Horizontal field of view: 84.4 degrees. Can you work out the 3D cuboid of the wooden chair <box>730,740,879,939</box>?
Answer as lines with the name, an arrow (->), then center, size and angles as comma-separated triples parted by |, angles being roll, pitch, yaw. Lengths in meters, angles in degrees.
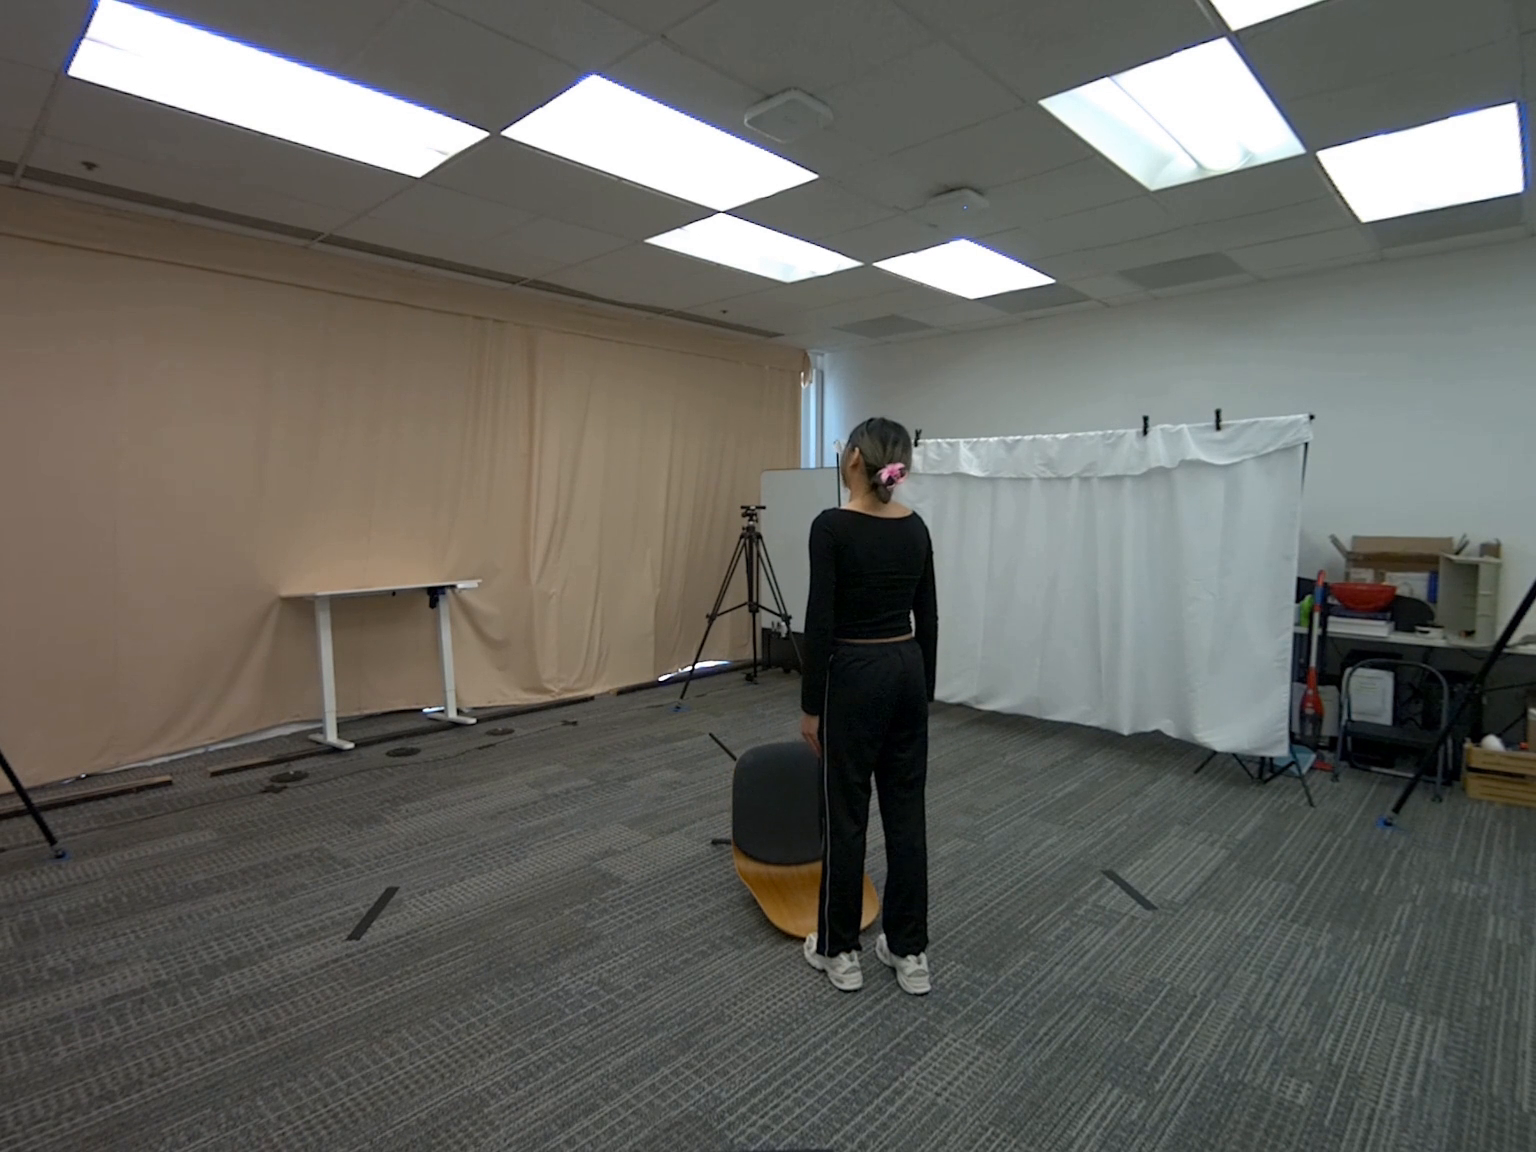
wooden chair -> 0.091, 0.871, 3.108 | 0.472, 0.522, 0.891 | -1, 5, -14
